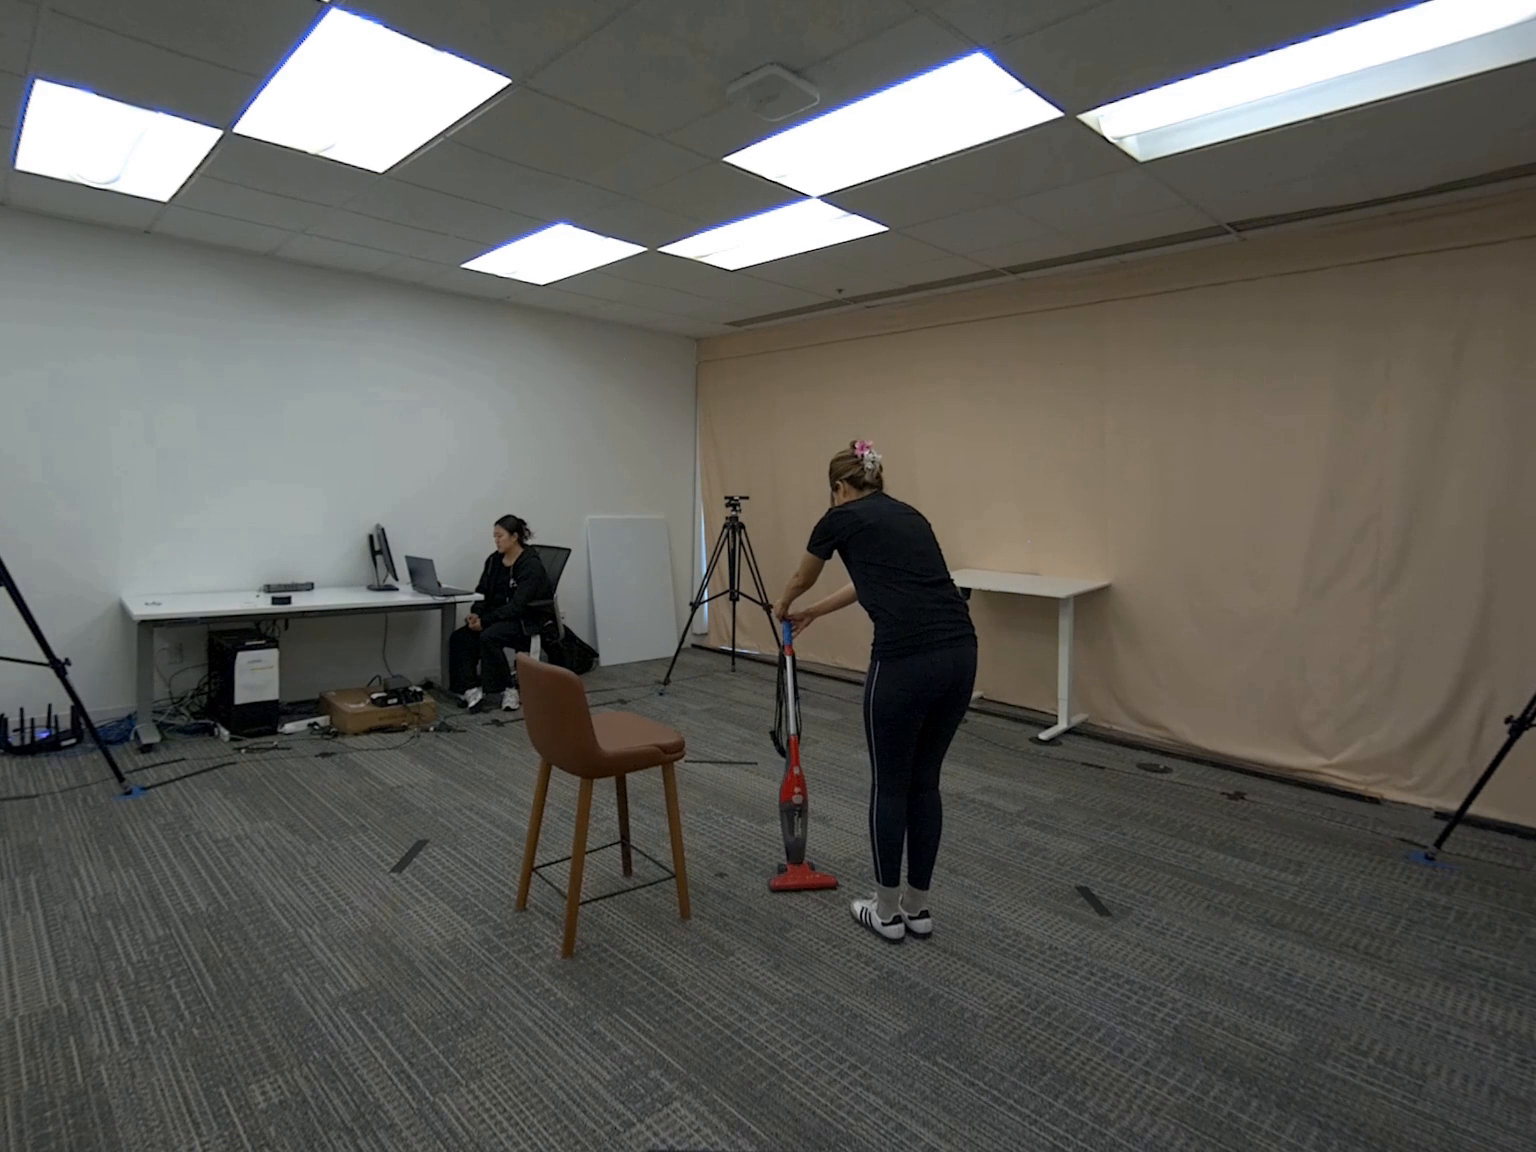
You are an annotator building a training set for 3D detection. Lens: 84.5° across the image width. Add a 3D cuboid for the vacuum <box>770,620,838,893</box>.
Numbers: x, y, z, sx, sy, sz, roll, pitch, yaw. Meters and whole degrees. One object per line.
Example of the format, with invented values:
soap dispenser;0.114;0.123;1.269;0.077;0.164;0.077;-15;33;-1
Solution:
vacuum;0.083;0.614;3.218;0.250;1.065;0.143;1;-21;-11
